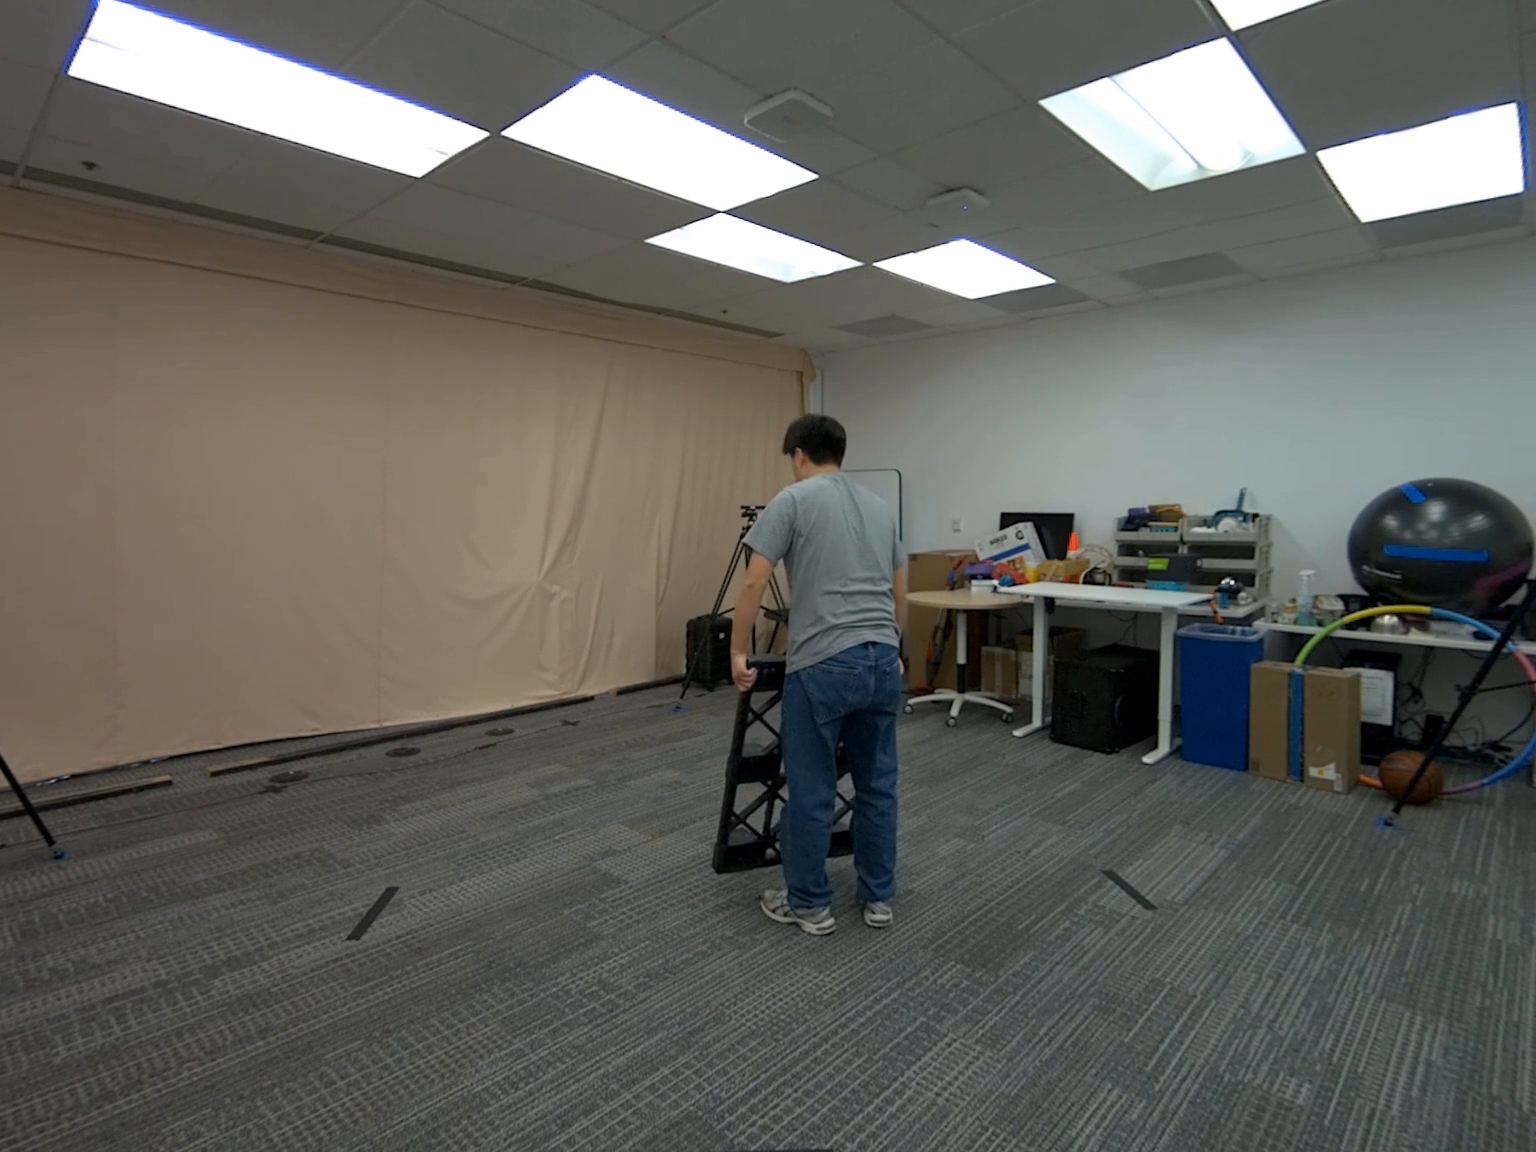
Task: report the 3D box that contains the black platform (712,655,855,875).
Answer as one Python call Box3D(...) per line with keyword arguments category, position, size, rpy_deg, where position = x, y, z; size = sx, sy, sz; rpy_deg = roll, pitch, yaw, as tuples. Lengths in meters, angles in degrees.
Box3D(category="black platform", position=(0.112, 0.650, 3.008), size=(0.591, 0.800, 0.147), rpy_deg=(3, 14, -23))
